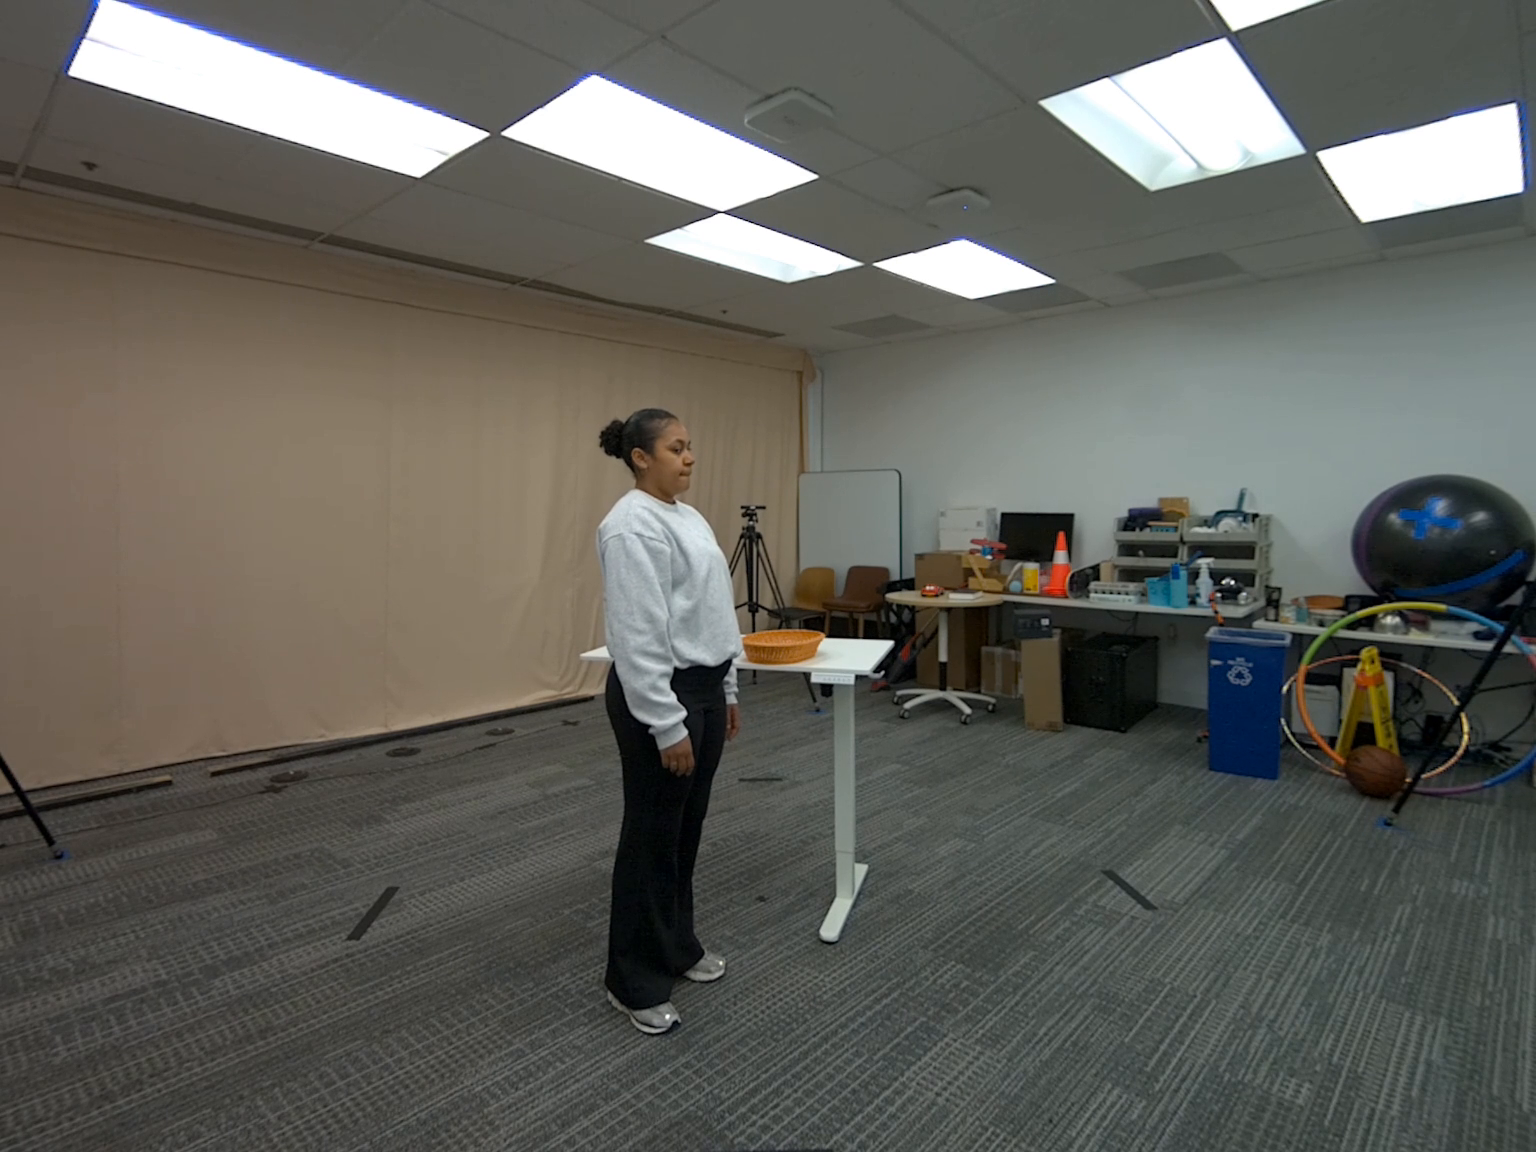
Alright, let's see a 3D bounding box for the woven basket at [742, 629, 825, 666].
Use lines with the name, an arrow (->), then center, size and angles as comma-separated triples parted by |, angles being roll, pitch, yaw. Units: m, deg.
woven basket -> 0.046, 0.246, 2.819 | 0.260, 0.073, 0.340 | 3, 6, 35
